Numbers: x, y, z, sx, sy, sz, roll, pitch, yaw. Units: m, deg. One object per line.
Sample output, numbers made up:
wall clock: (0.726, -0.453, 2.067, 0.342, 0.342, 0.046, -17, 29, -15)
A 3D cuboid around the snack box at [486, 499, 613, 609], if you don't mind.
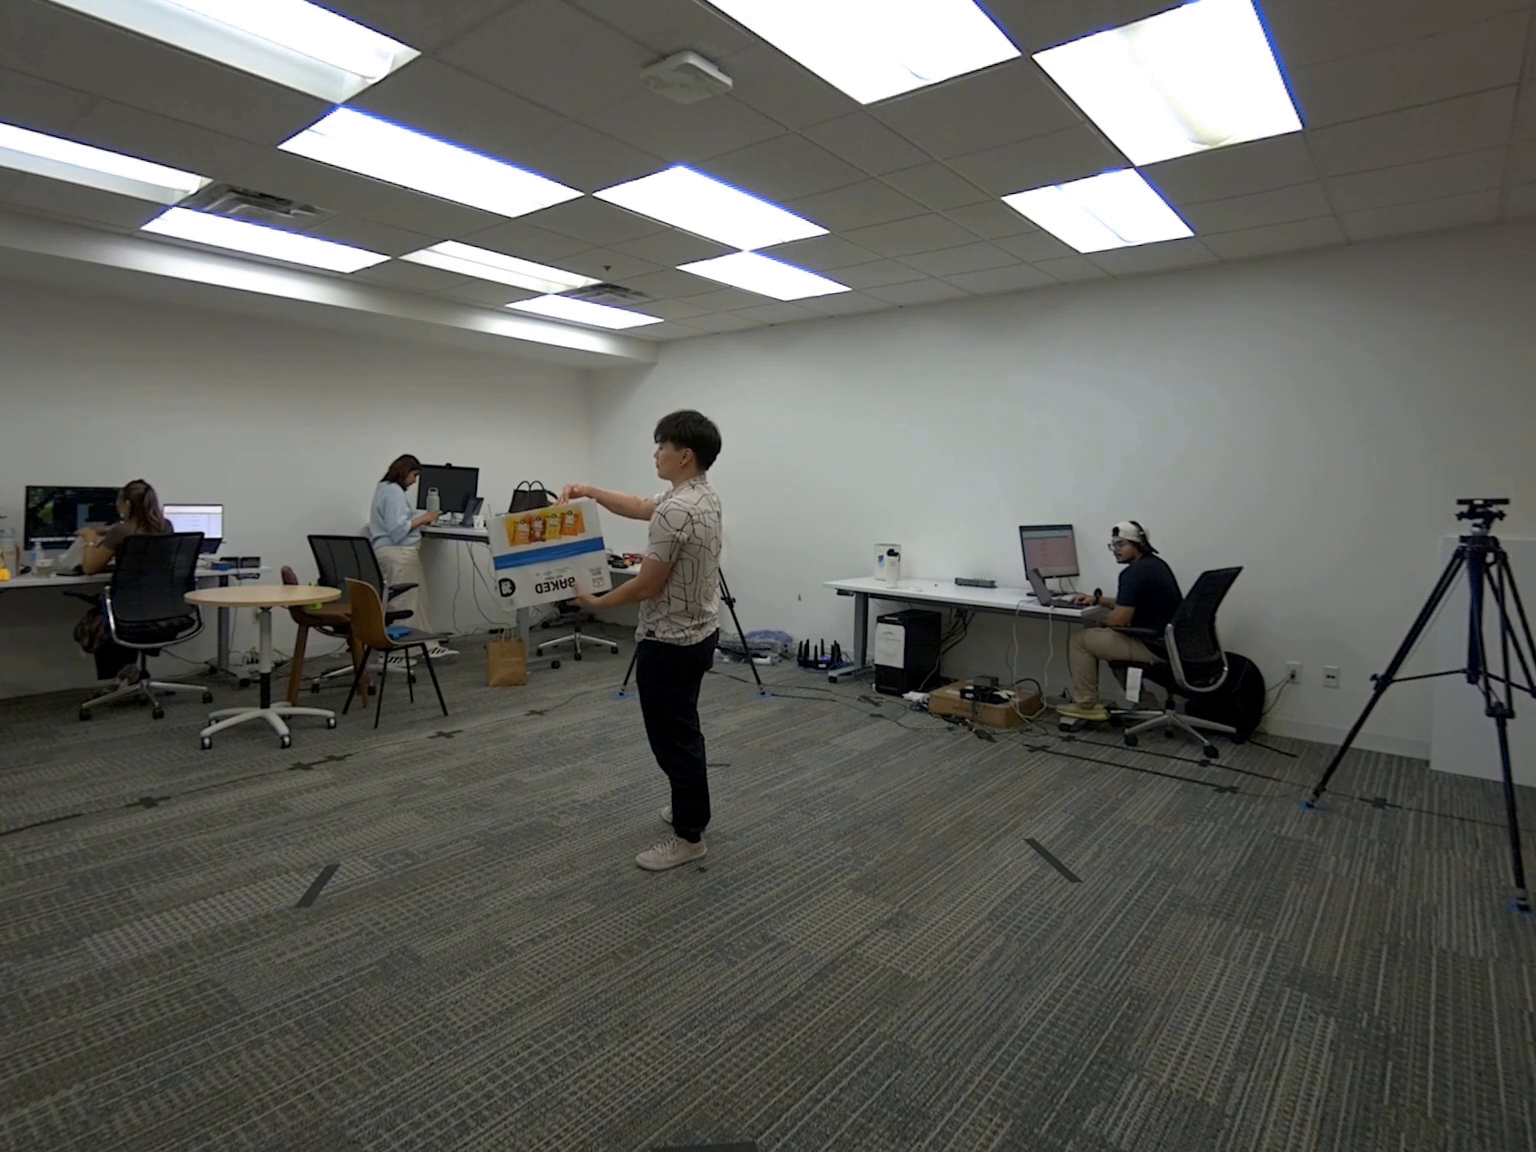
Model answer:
snack box: (-0.835, -0.091, 3.185, 0.401, 0.339, 0.209, -11, 5, -13)
